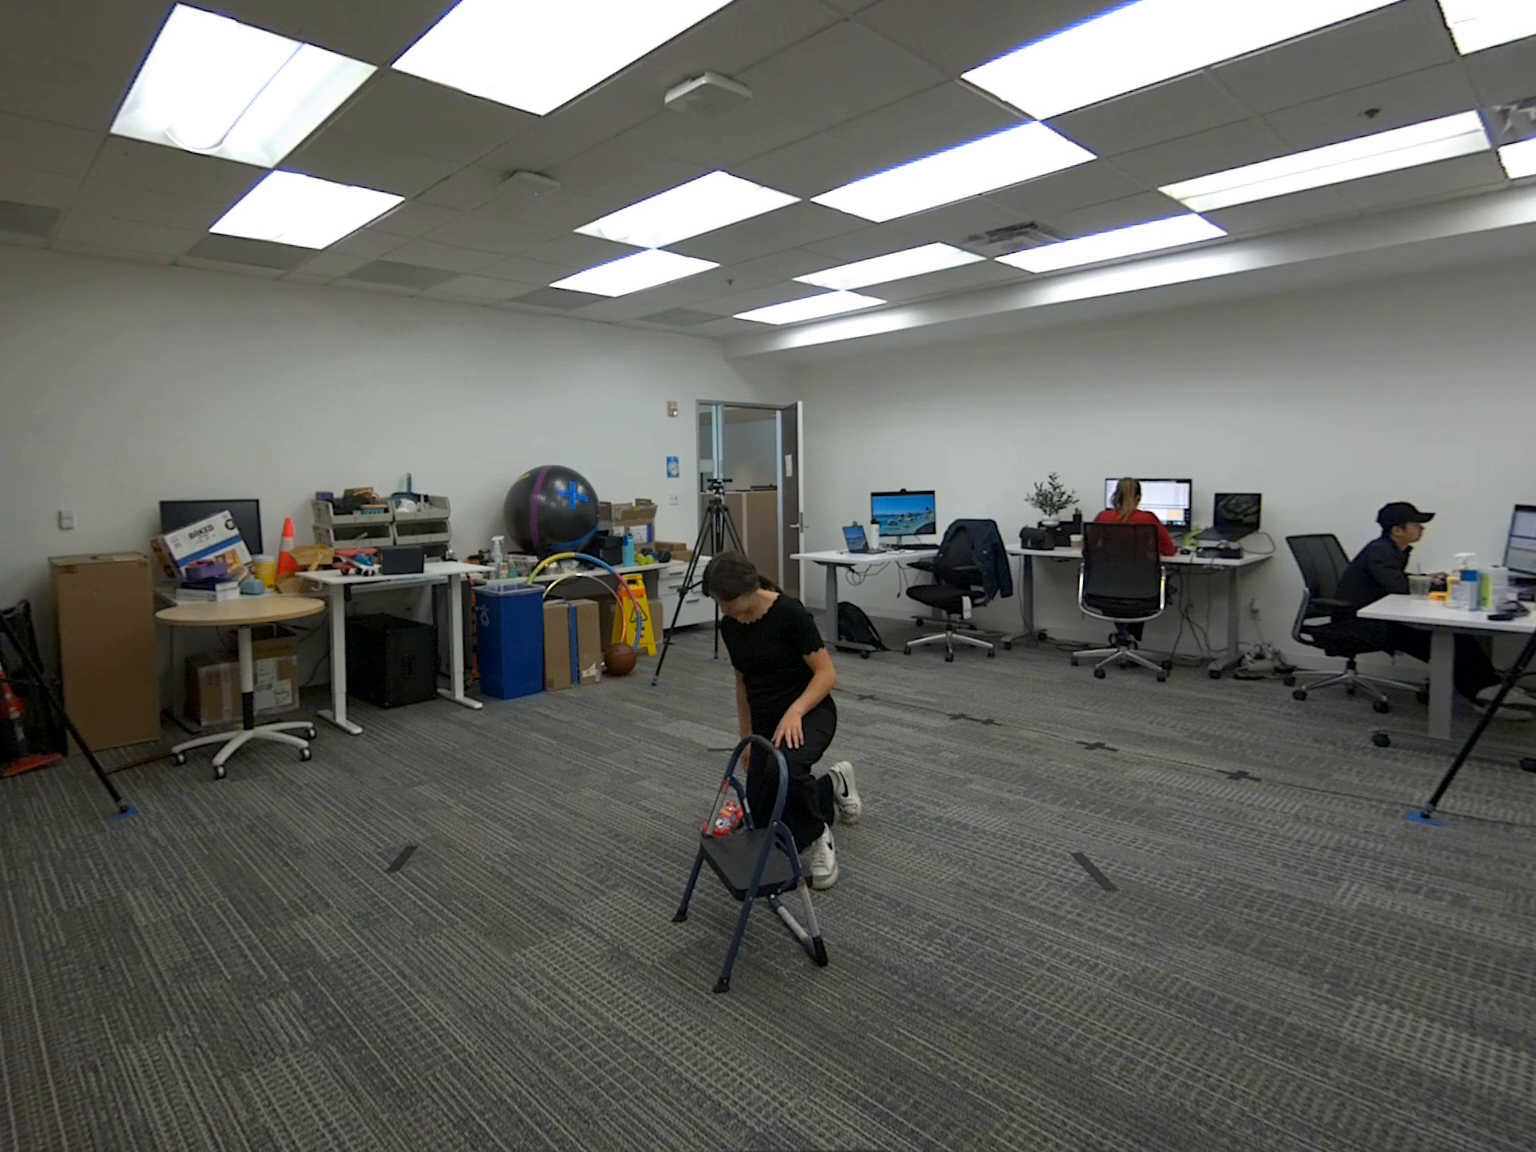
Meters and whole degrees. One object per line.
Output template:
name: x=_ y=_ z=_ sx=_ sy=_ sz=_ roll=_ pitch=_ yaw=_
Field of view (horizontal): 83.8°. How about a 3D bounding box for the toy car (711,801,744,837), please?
toy car: x=-0.161 y=0.978 z=3.412 sx=0.132 sy=0.082 sz=0.254 roll=-2 pitch=16 yaw=17
